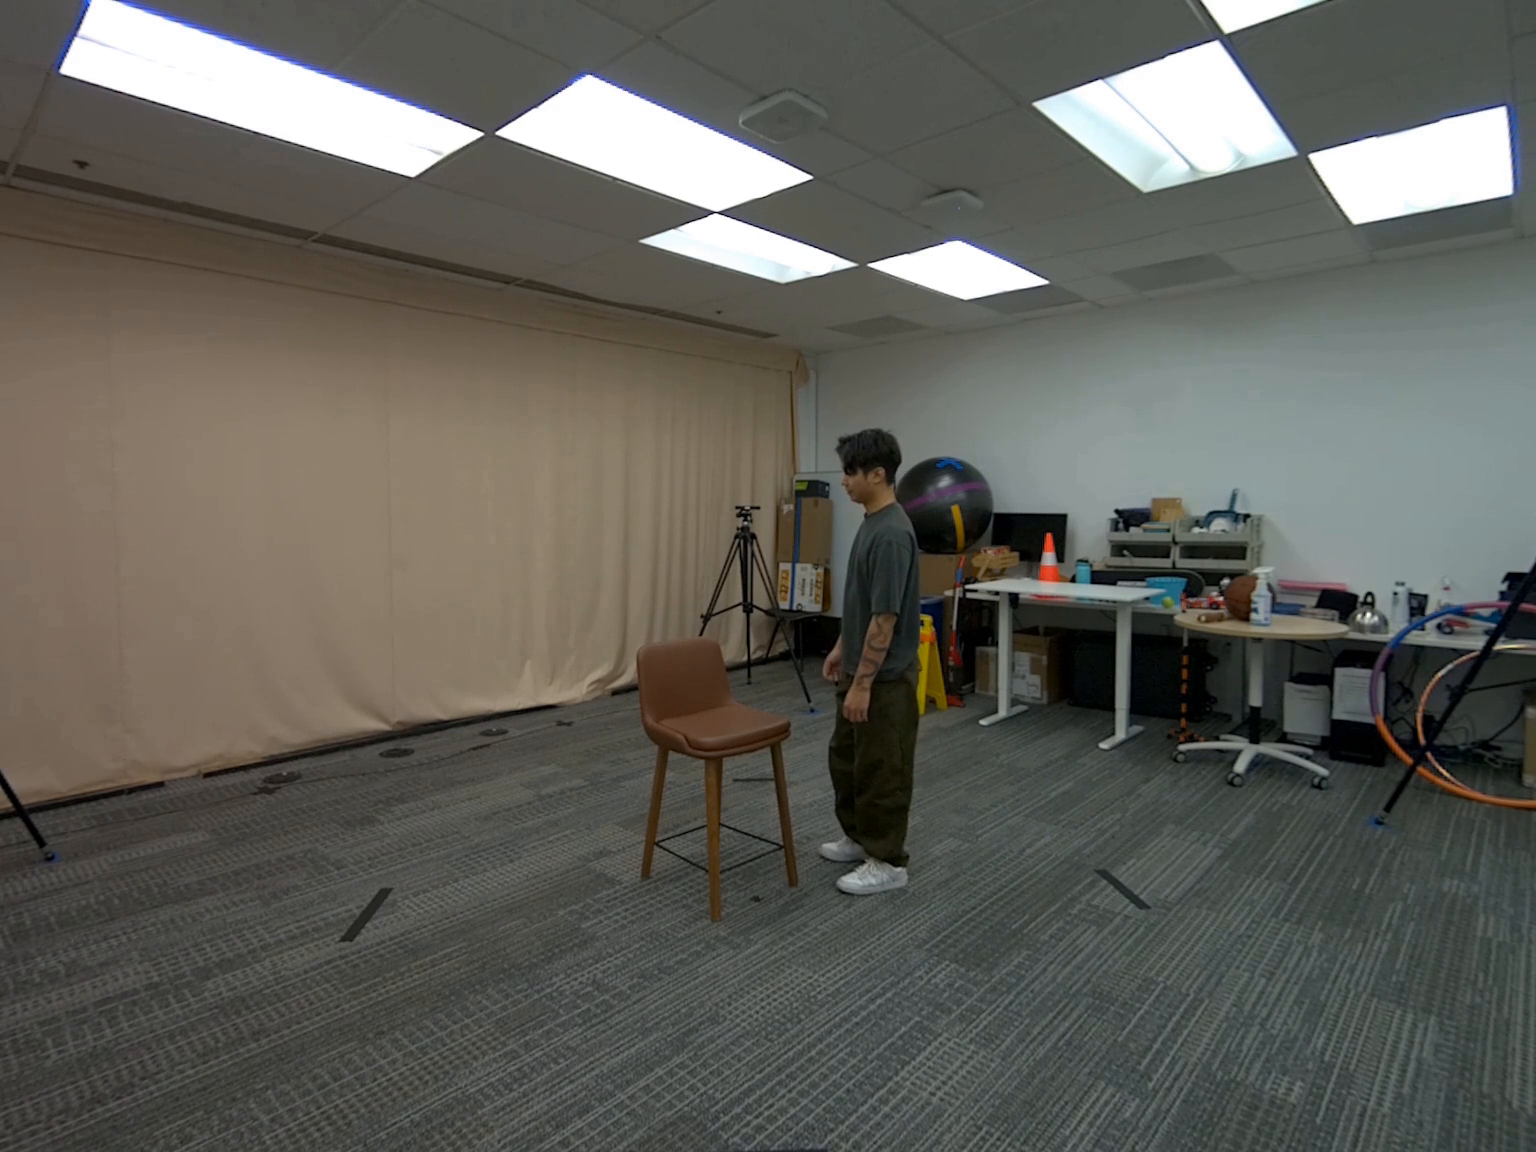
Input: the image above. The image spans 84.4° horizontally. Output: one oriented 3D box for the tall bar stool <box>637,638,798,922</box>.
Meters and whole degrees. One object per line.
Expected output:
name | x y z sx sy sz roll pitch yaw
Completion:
tall bar stool | -0.194 0.703 3.099 0.442 0.889 0.483 -3 2 -43
